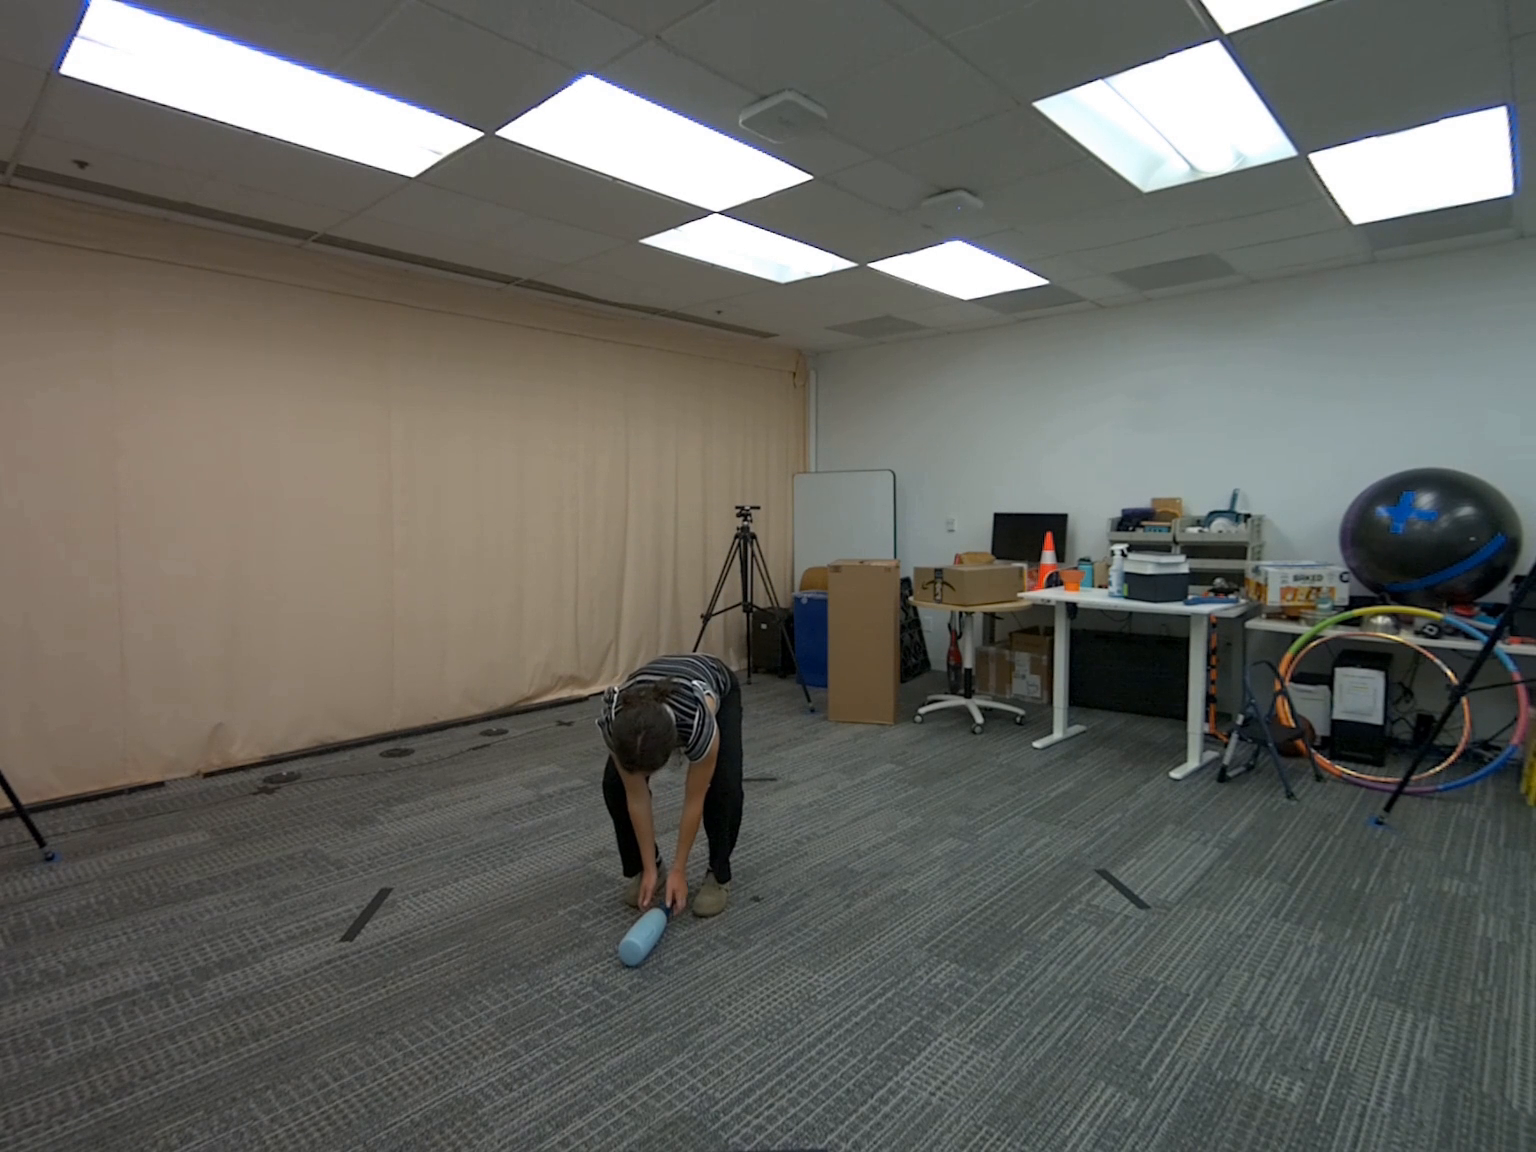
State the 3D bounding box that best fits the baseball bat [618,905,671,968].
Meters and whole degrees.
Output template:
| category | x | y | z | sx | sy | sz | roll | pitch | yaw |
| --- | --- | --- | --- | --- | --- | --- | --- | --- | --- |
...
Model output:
| category | x | y | z | sx | sy | sz | roll | pitch | yaw |
| --- | --- | --- | --- | --- | --- | --- | --- | --- | --- |
| baseball bat | -0.360 | 1.128 | 2.785 | 0.090 | 0.089 | 0.536 | 1 | 2 | 11 |
